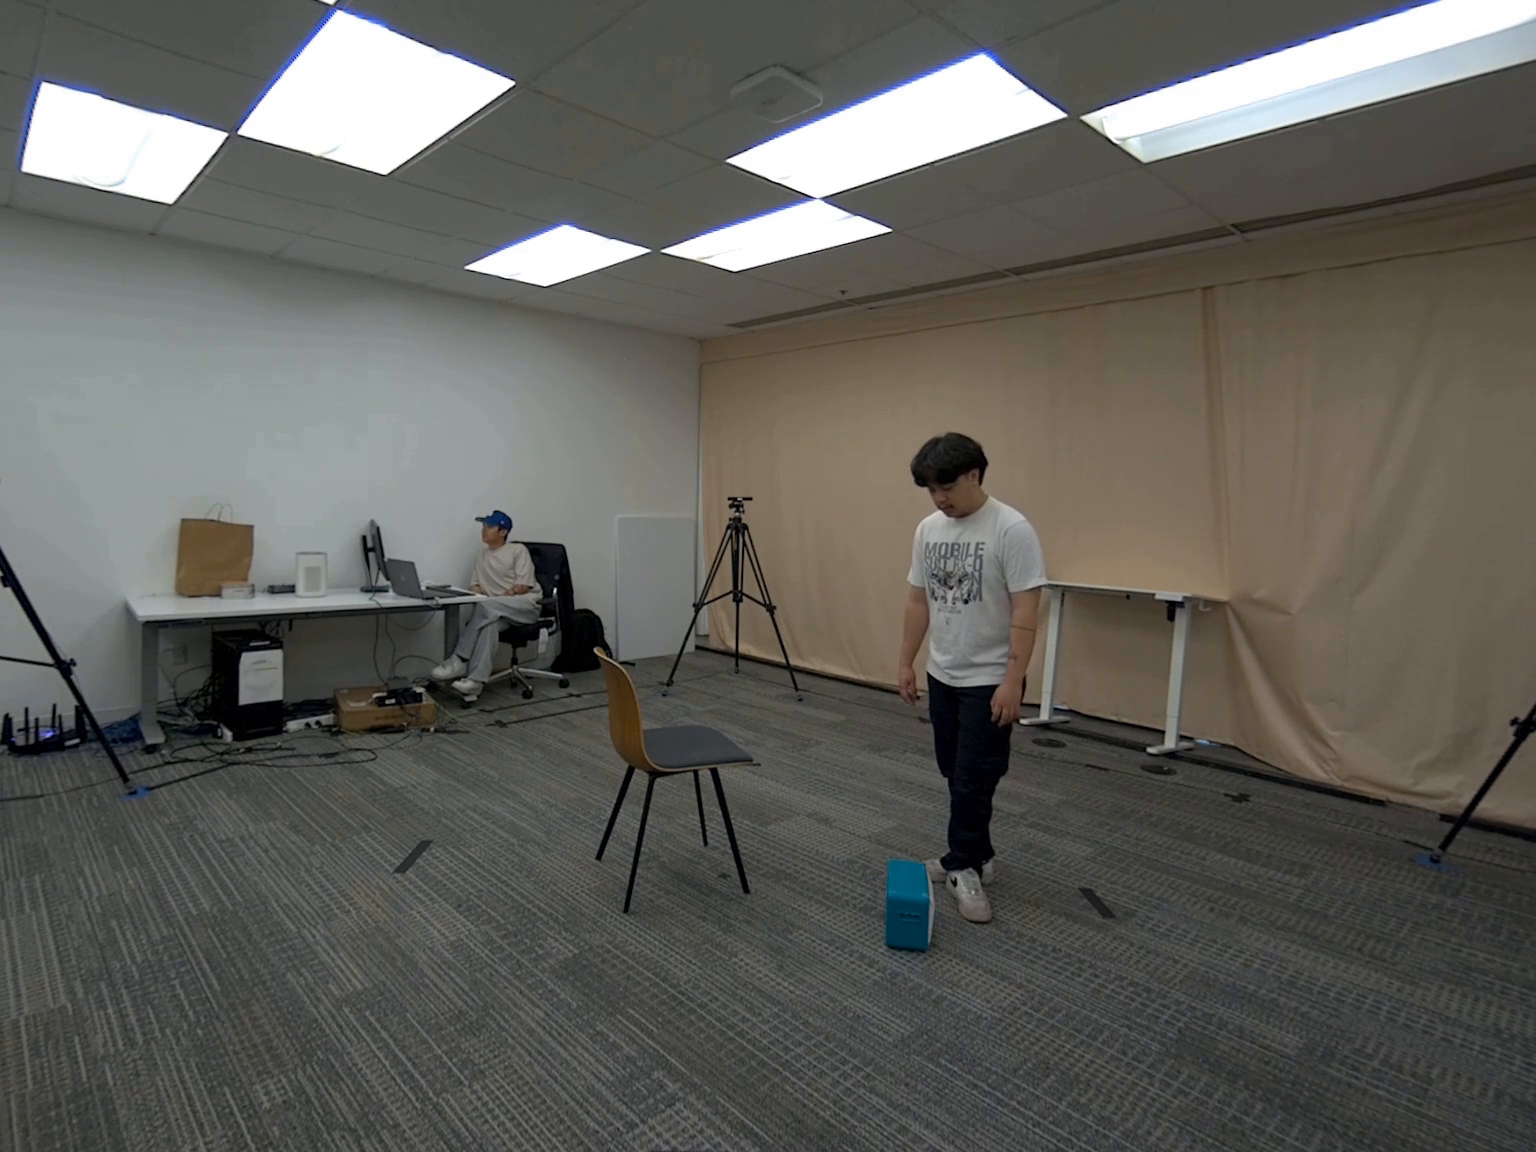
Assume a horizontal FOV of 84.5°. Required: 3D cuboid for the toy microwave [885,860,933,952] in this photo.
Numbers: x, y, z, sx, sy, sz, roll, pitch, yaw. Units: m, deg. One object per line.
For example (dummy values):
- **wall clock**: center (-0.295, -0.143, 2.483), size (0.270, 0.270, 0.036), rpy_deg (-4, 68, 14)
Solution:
- **toy microwave**: center (0.453, 1.063, 2.733), size (0.153, 0.183, 0.285), rpy_deg (0, 4, 9)
